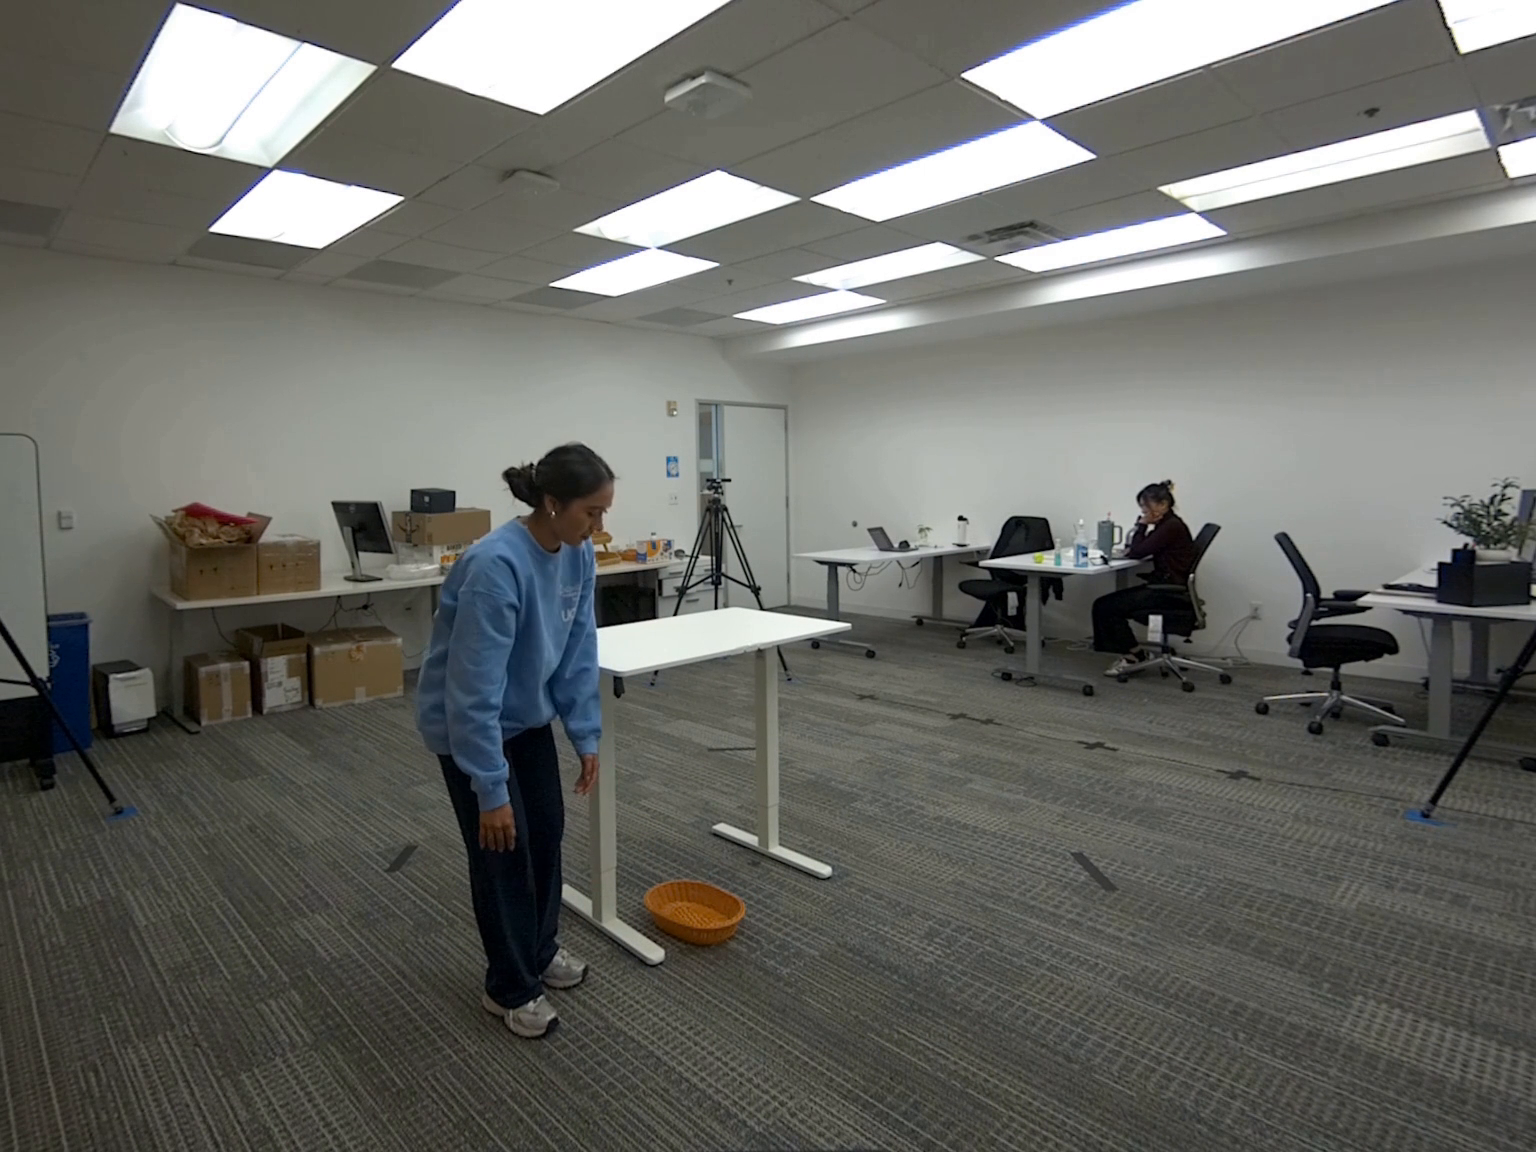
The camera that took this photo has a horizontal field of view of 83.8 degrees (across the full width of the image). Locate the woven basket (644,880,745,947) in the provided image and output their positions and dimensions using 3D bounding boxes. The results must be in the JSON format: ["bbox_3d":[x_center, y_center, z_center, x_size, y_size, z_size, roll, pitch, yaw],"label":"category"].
[{"bbox_3d":[-0.229,1.057,2.684,0.361,0.073,0.246,4,7,40],"label":"woven basket"}]
